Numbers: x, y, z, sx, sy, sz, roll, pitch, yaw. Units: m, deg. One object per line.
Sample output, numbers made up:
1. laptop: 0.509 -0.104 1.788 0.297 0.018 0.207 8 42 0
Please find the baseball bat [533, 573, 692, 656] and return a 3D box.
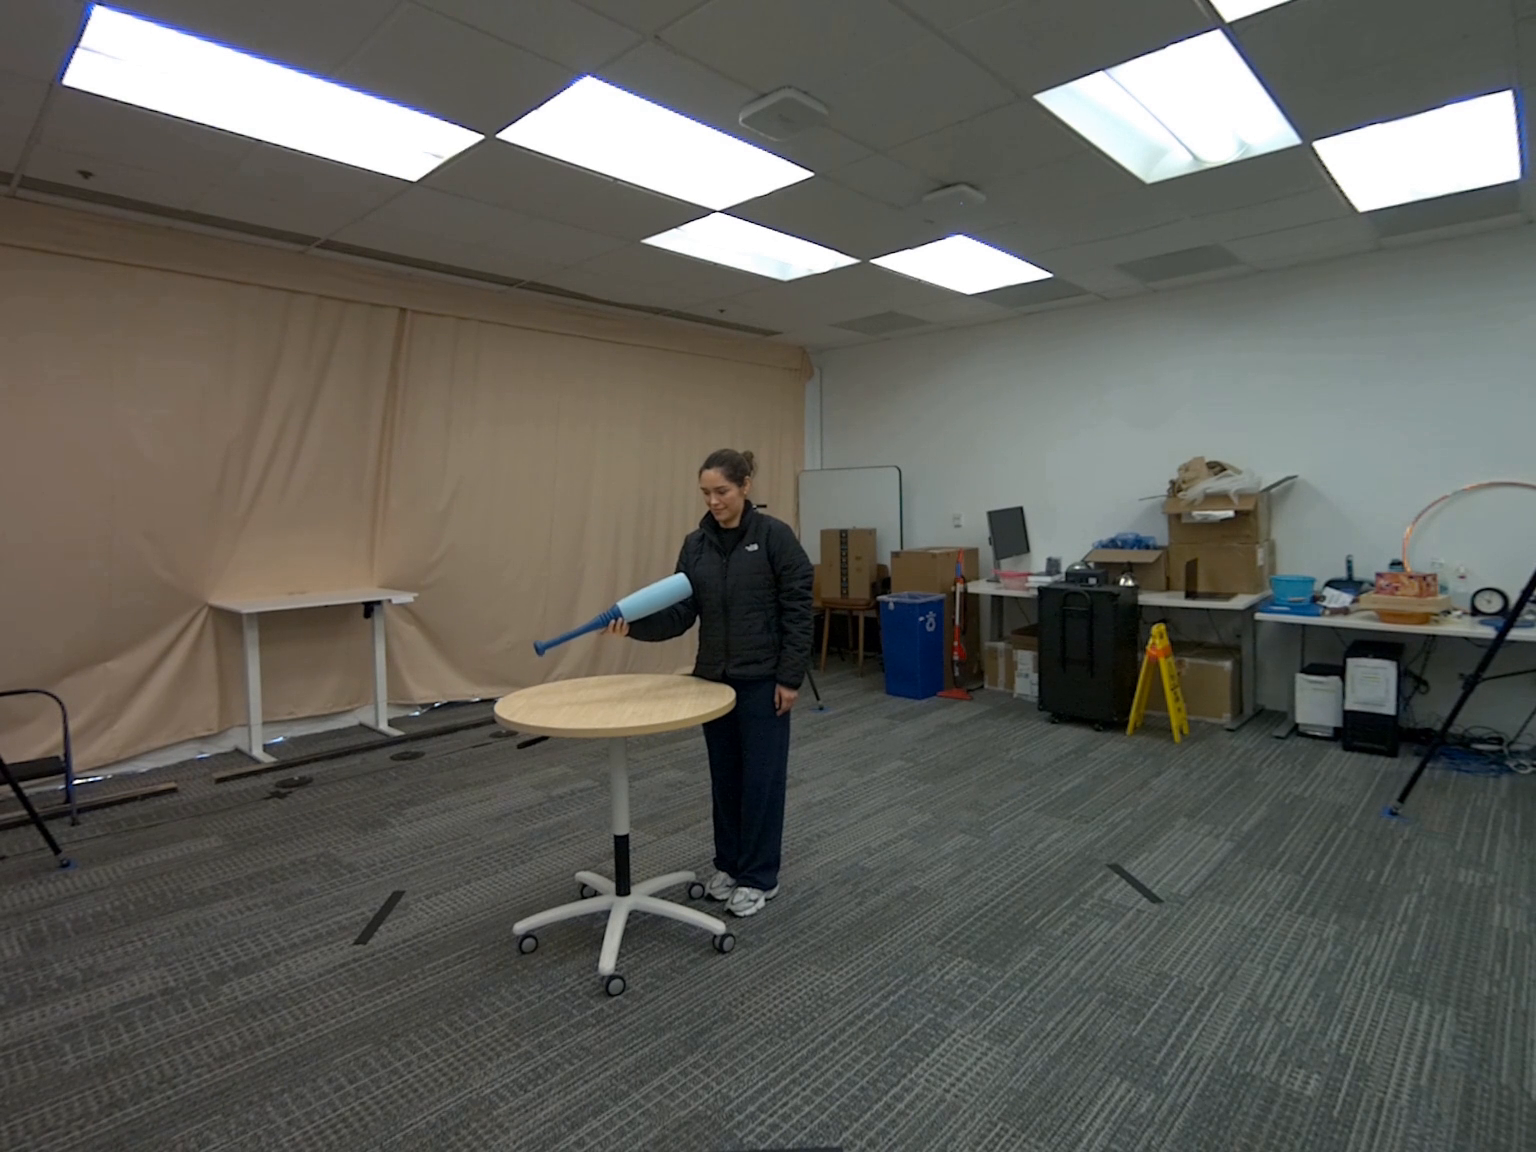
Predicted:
1. baseball bat: -0.486 0.133 2.725 0.537 0.088 0.091 -25 11 -15
